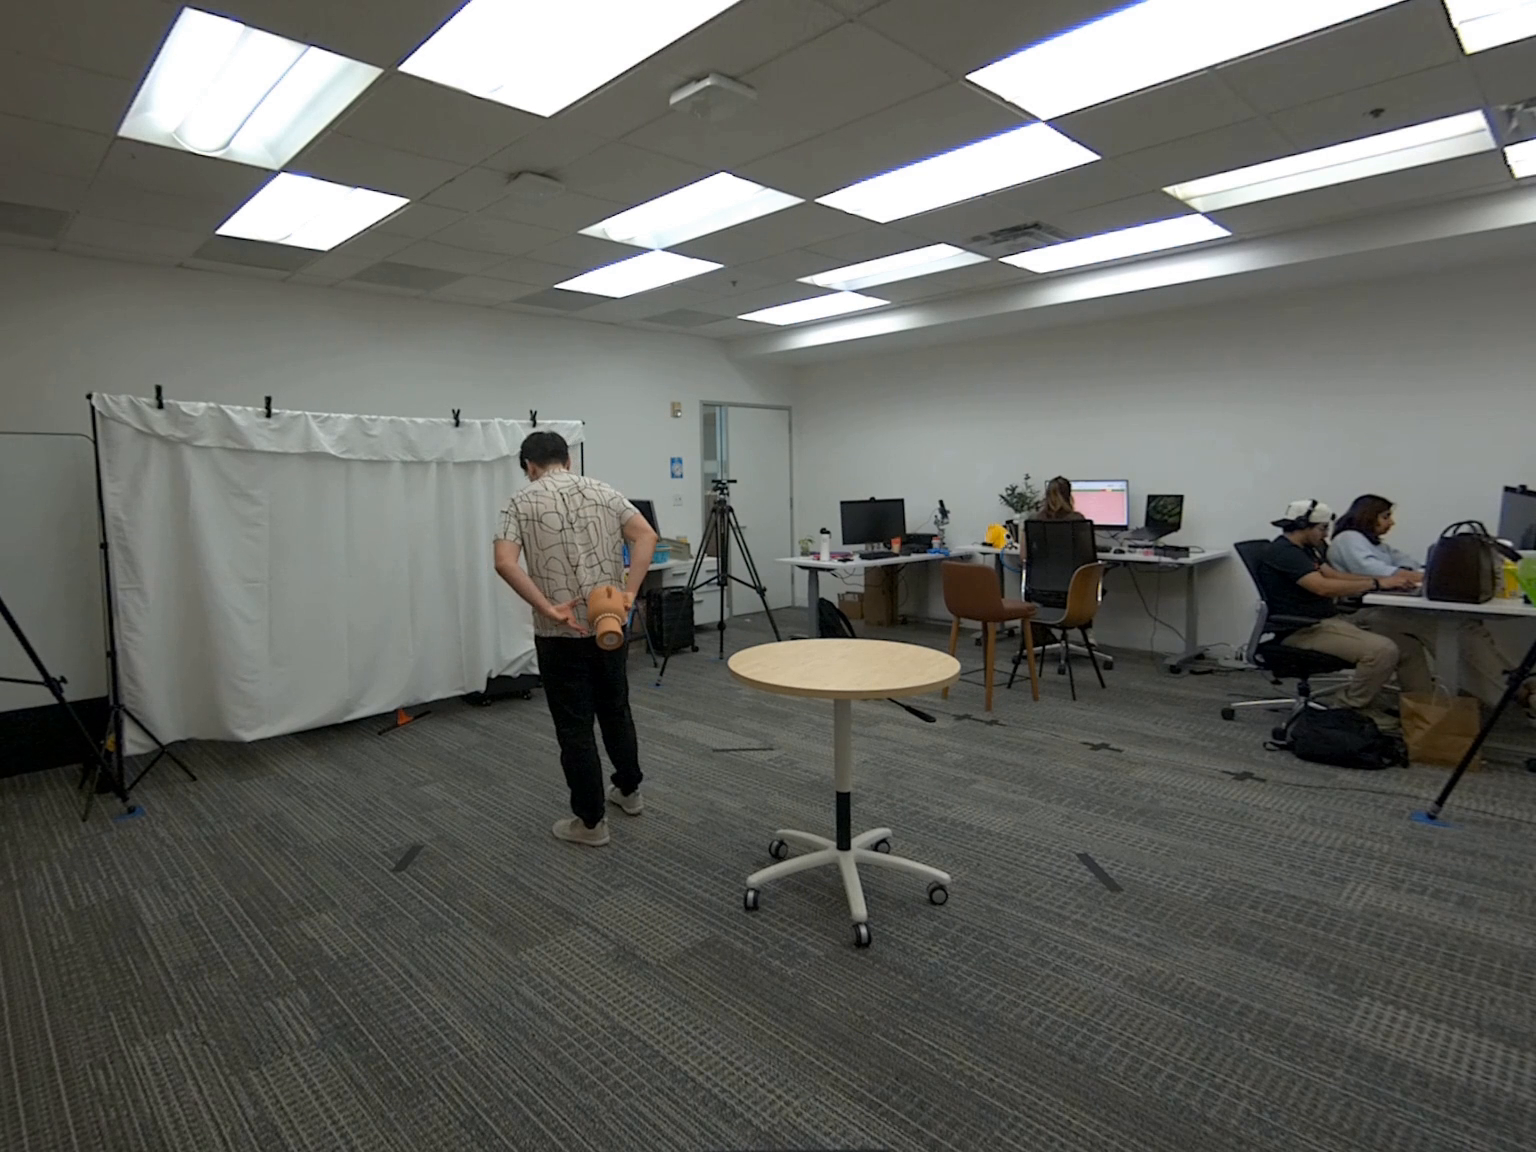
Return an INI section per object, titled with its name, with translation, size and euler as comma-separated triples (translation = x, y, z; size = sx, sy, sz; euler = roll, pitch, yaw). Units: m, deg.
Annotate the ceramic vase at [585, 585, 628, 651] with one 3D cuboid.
[ceramic vase]
translation = -0.586, 0.156, 3.077
size = 0.135, 0.153, 0.227
euler = -25, 41, 5
